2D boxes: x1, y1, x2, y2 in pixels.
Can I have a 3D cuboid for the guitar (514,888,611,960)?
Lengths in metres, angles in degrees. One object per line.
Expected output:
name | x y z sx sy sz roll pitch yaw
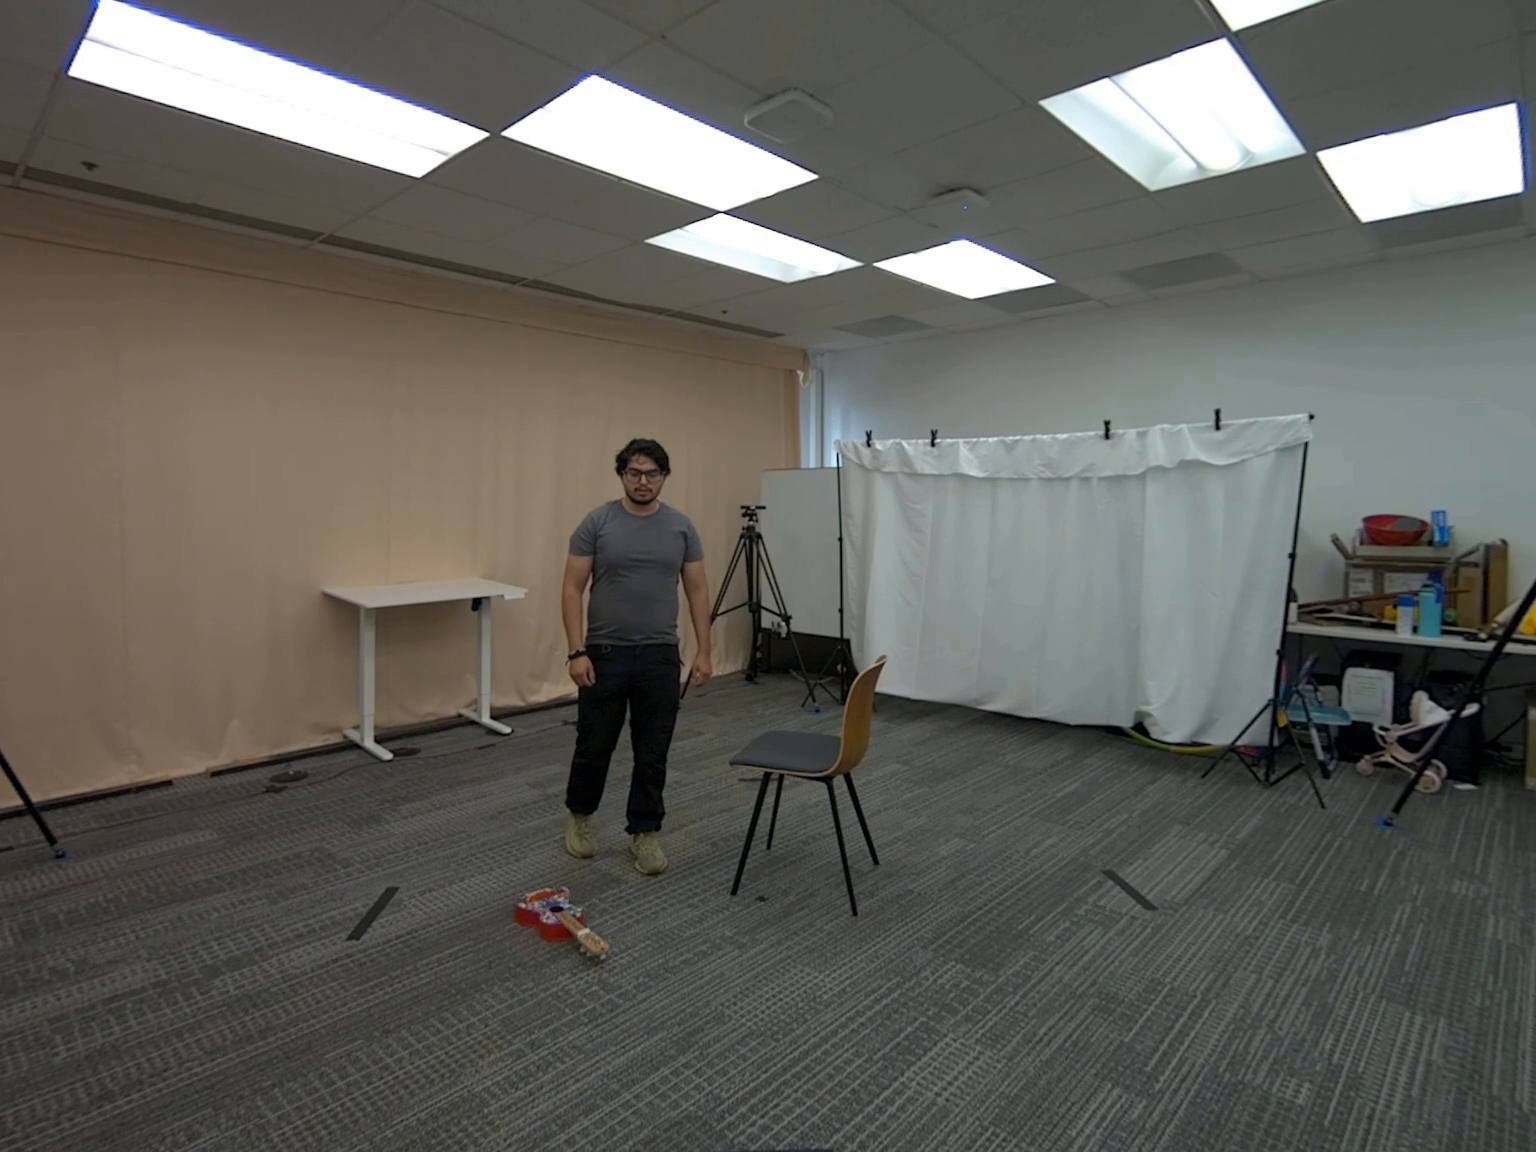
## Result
guitar | -0.680 1.138 2.716 0.188 0.070 0.512 -2 5 -29
